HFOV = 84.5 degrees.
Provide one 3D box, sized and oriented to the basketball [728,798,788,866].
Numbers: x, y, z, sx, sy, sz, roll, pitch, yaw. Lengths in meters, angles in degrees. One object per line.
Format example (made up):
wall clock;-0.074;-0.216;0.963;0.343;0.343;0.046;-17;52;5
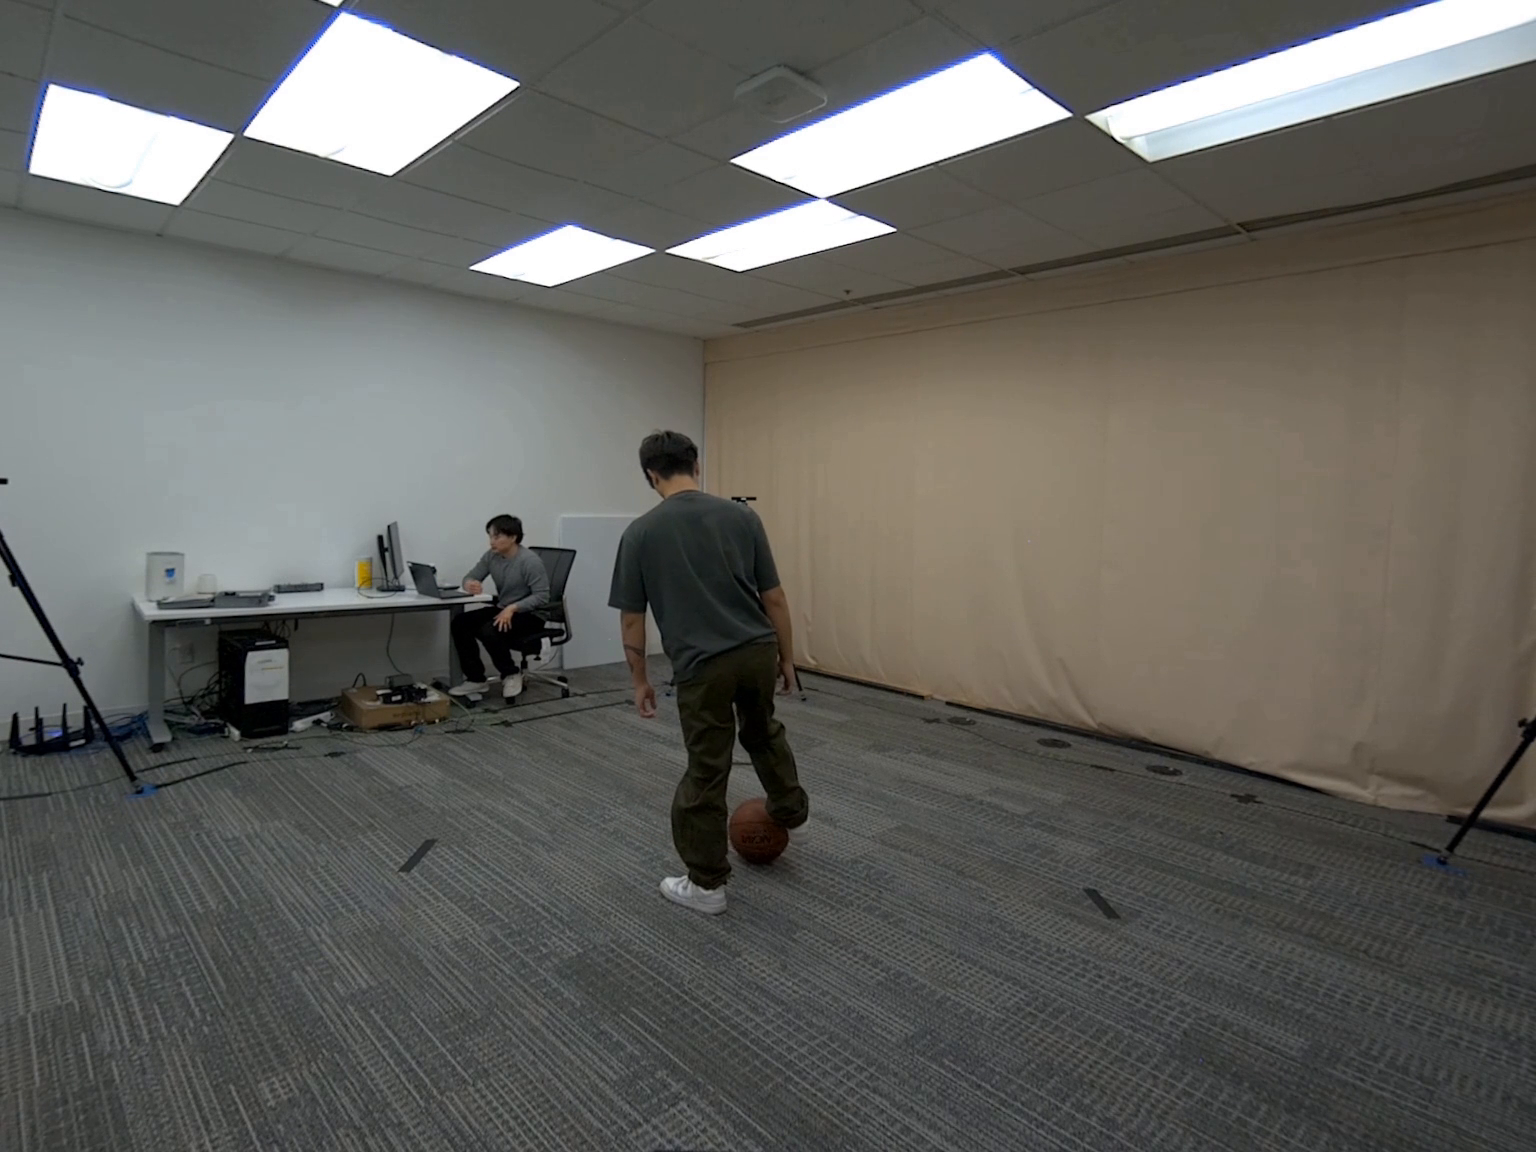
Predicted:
basketball;-0.044;0.977;3.245;0.236;0.235;0.237;1;4;-1
